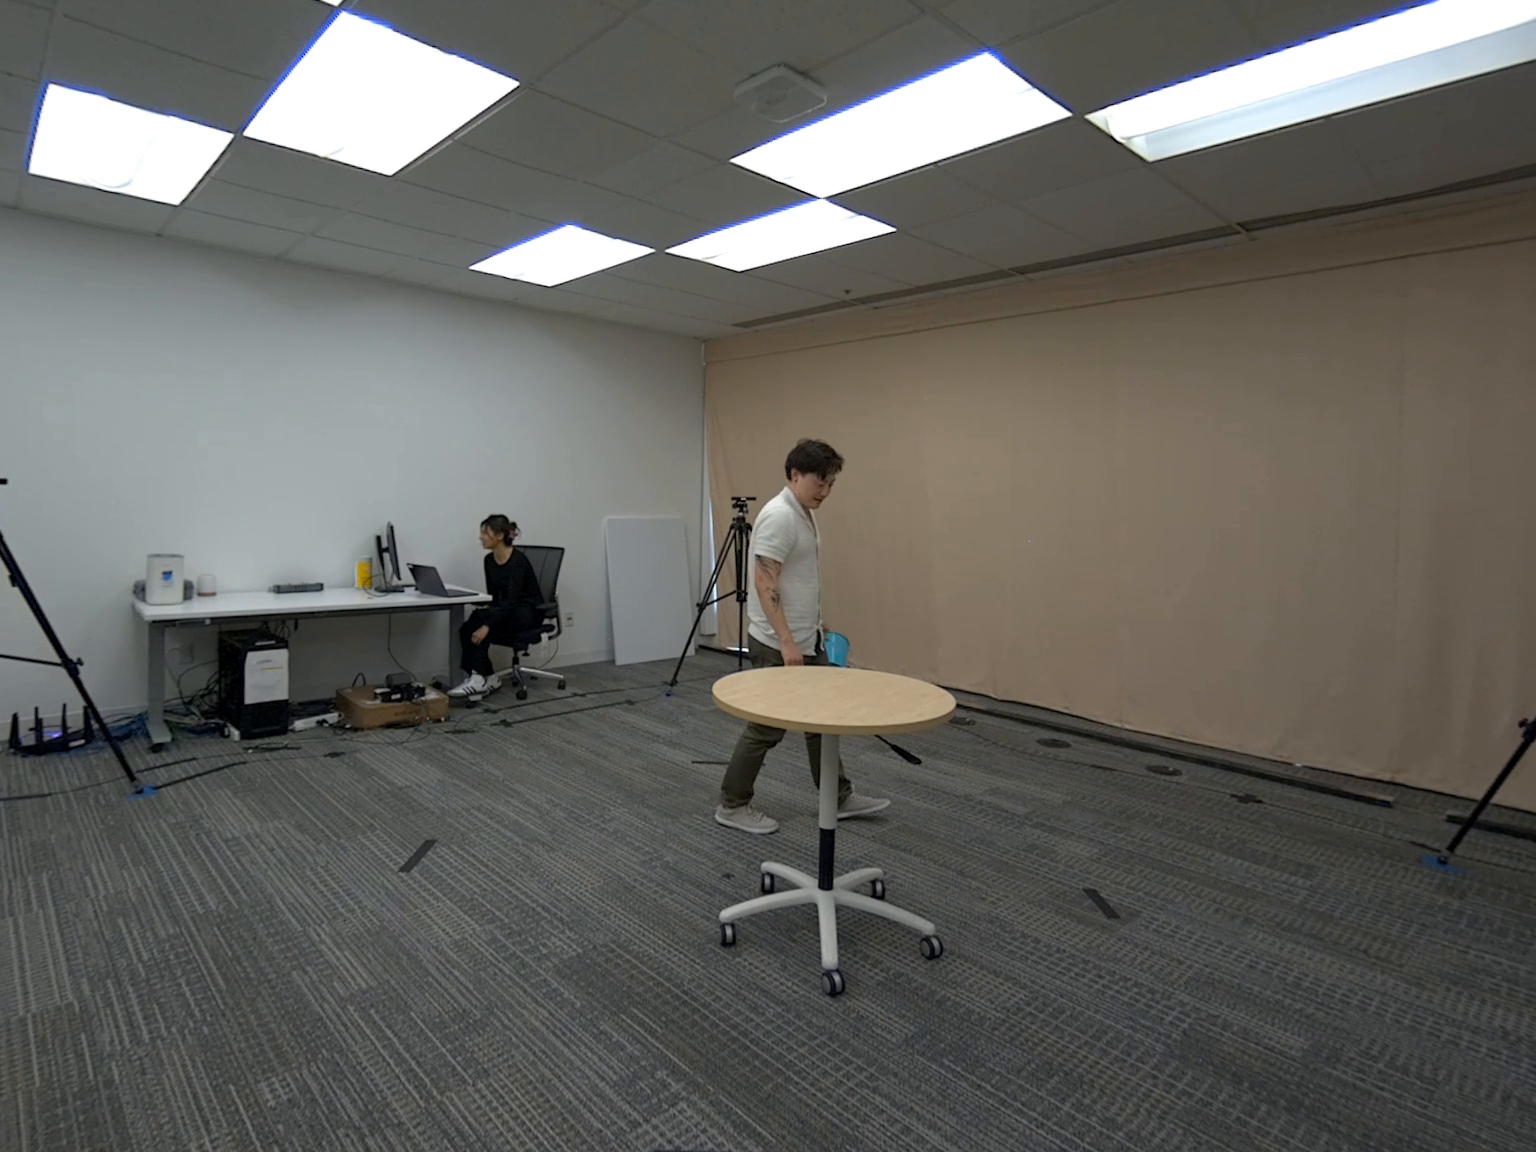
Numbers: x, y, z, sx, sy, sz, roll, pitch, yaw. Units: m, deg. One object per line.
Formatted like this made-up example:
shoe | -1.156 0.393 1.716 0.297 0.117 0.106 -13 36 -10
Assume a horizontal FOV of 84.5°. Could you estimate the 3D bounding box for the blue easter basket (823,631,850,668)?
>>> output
blue easter basket | 0.265 0.388 3.934 0.244 0.159 0.238 3 -39 1
